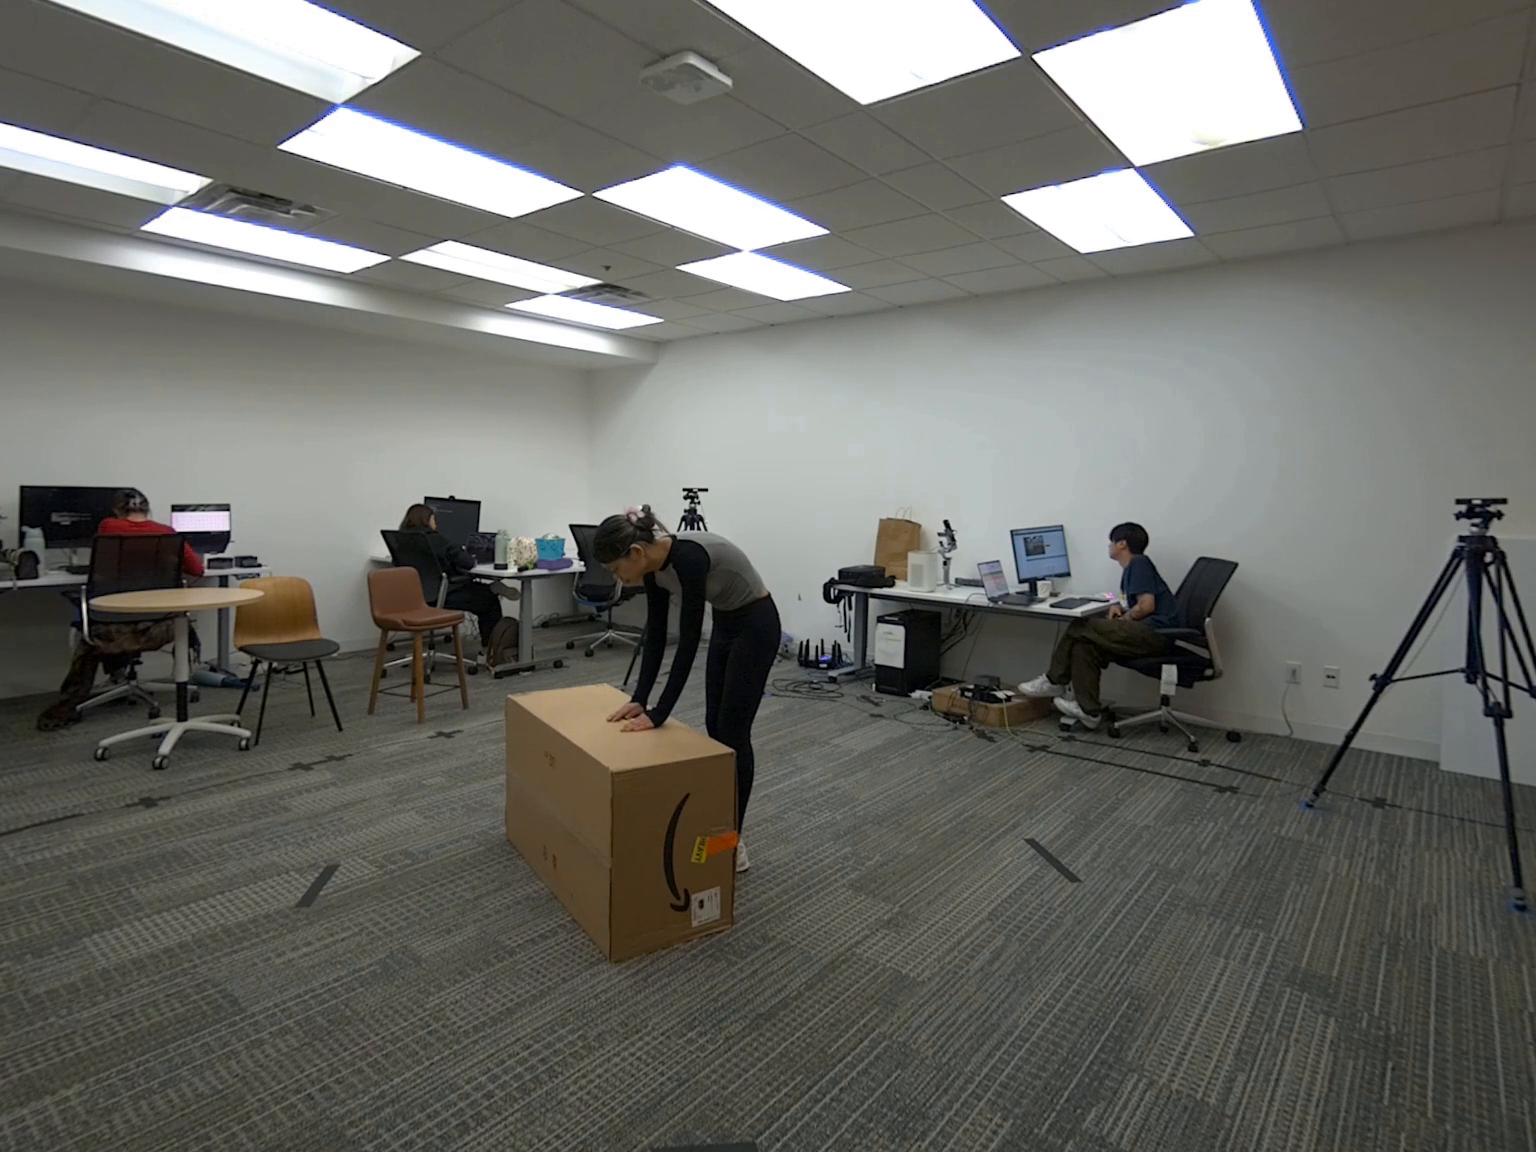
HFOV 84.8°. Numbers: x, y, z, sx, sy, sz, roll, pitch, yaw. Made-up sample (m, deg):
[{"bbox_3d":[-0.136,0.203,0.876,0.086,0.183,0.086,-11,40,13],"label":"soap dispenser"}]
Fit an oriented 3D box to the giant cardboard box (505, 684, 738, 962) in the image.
[{"bbox_3d":[-0.575,0.786,2.999,0.414,0.575,1.059,-1,6,-32],"label":"giant cardboard box"}]
